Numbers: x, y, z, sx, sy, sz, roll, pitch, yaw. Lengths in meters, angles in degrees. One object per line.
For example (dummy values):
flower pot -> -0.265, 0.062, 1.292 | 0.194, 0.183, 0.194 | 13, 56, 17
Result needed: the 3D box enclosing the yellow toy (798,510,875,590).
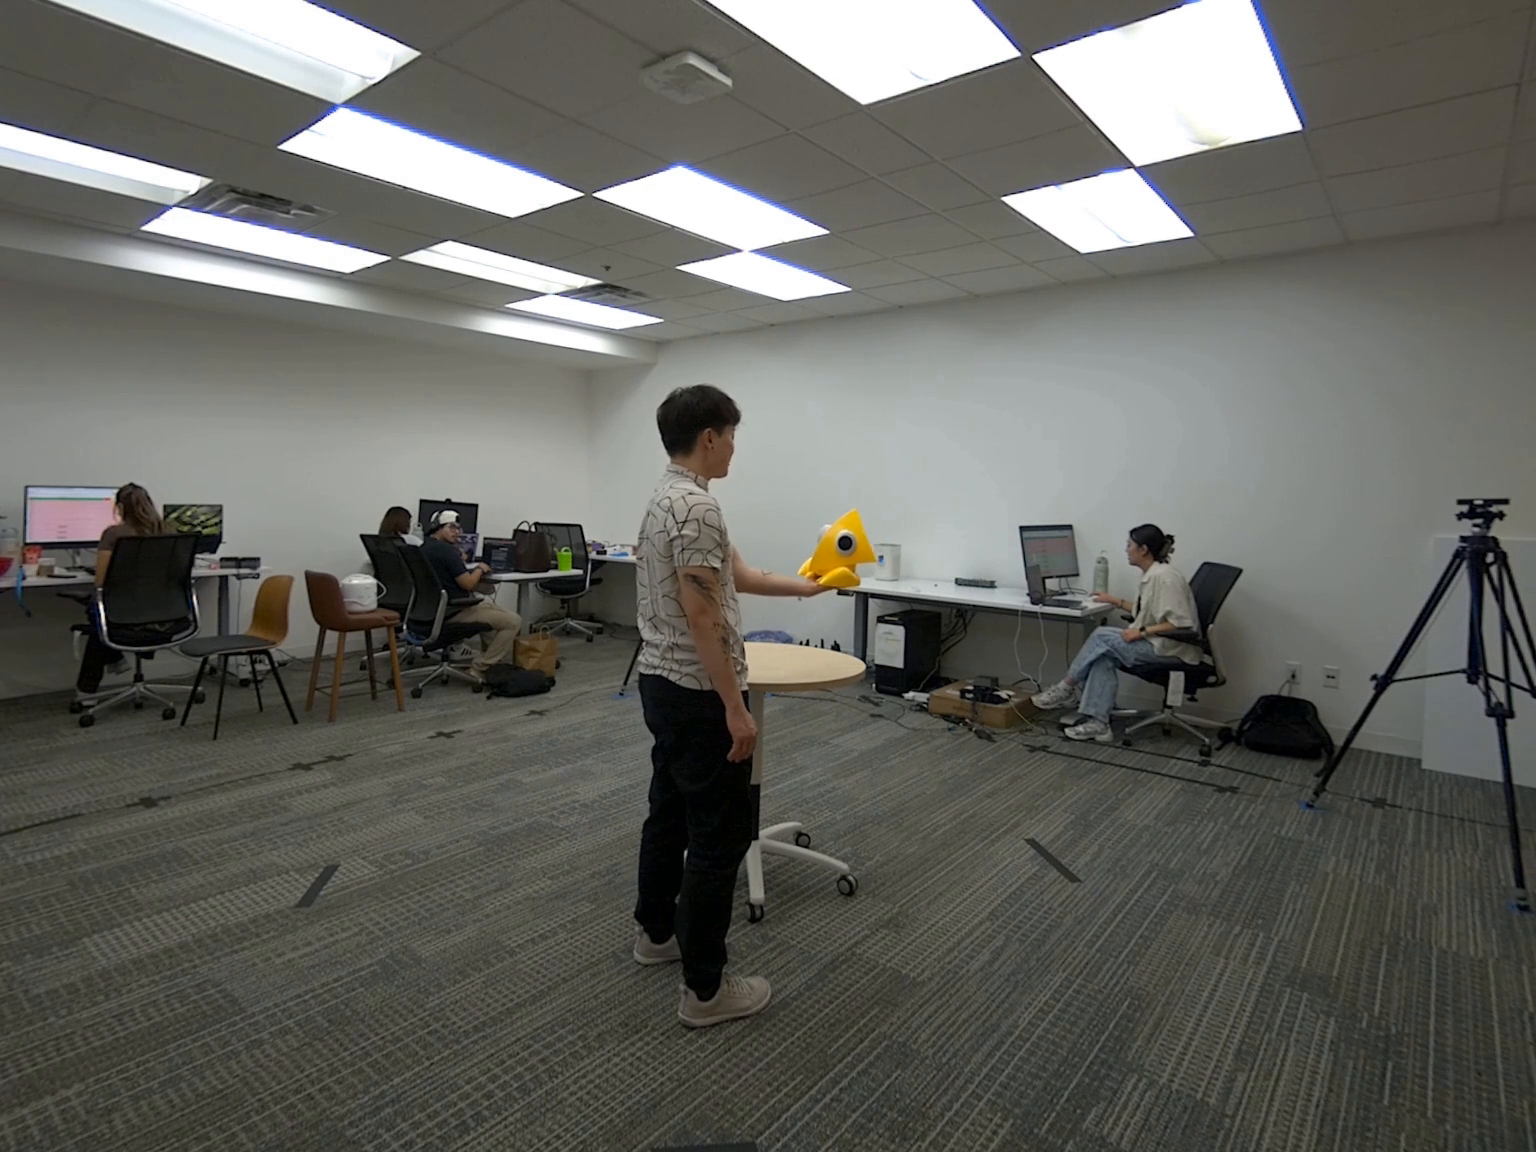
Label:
yellow toy -> 0.209, -0.105, 2.703 | 0.188, 0.228, 0.212 | 0, 13, -29
